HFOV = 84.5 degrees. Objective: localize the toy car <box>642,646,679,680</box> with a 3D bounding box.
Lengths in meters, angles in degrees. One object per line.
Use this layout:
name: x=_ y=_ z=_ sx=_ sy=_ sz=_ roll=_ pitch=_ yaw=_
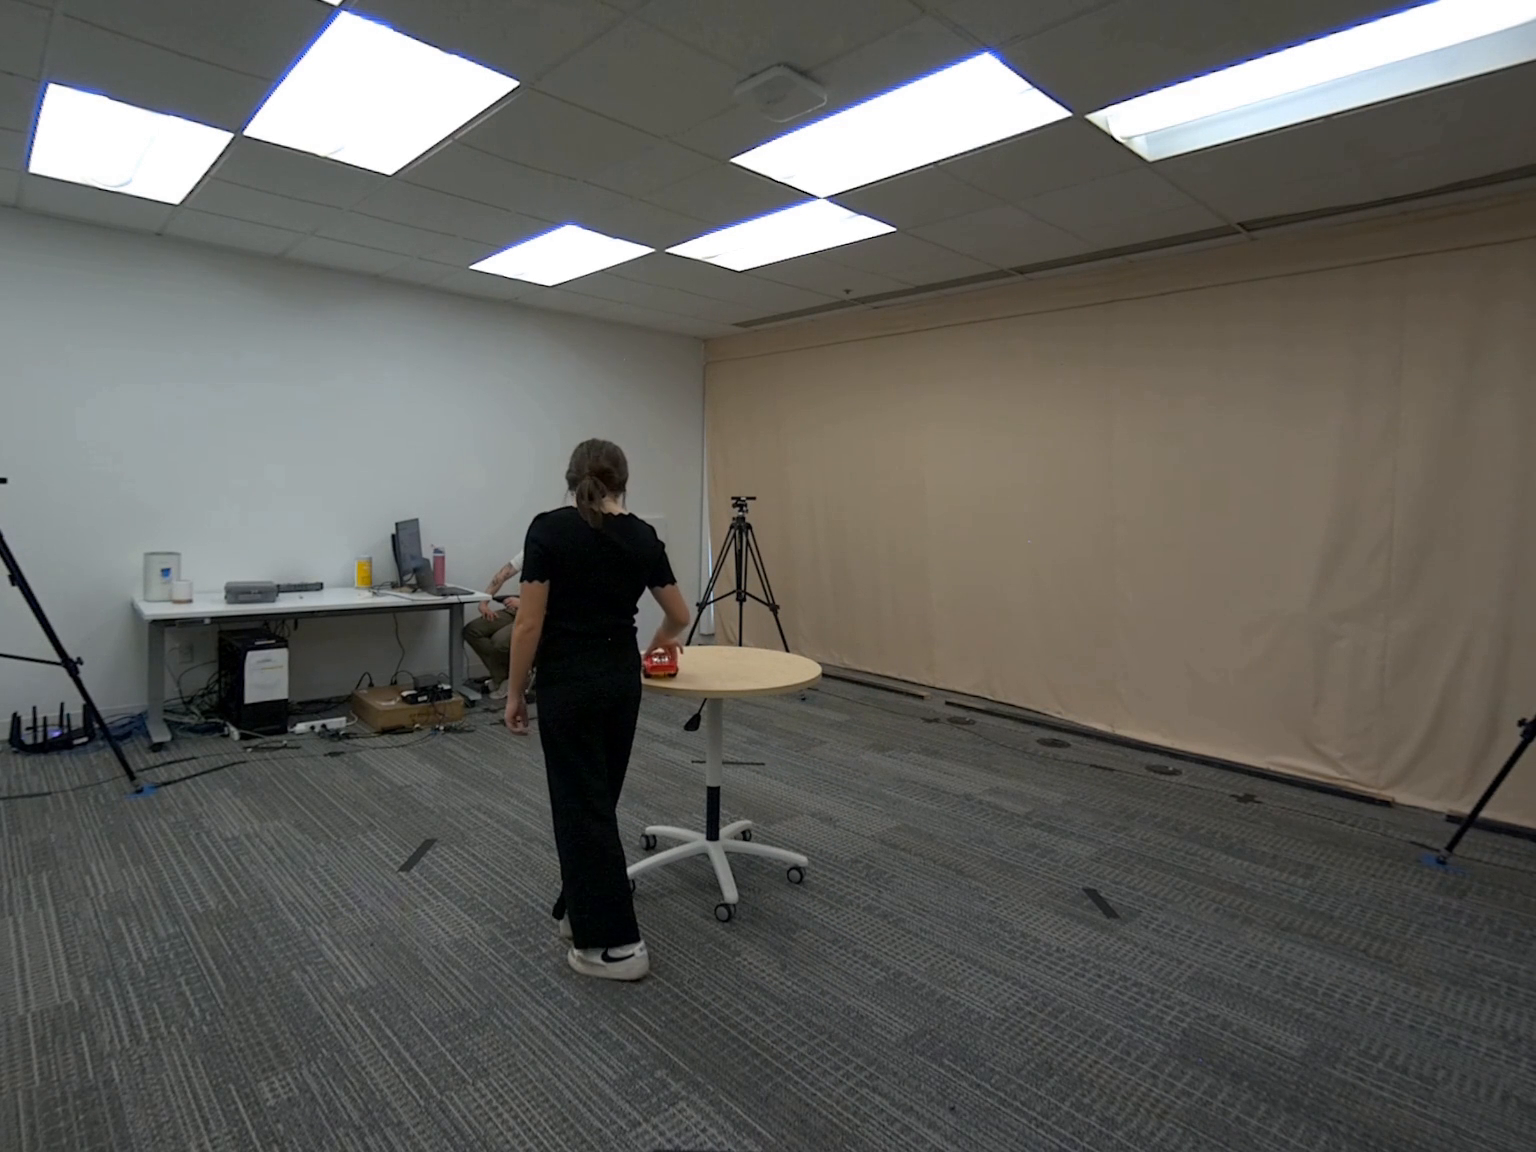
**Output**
toy car: x=-0.389 y=0.307 z=2.889 sx=0.128 sy=0.083 sz=0.257 roll=-1 pitch=-5 yaw=-18
